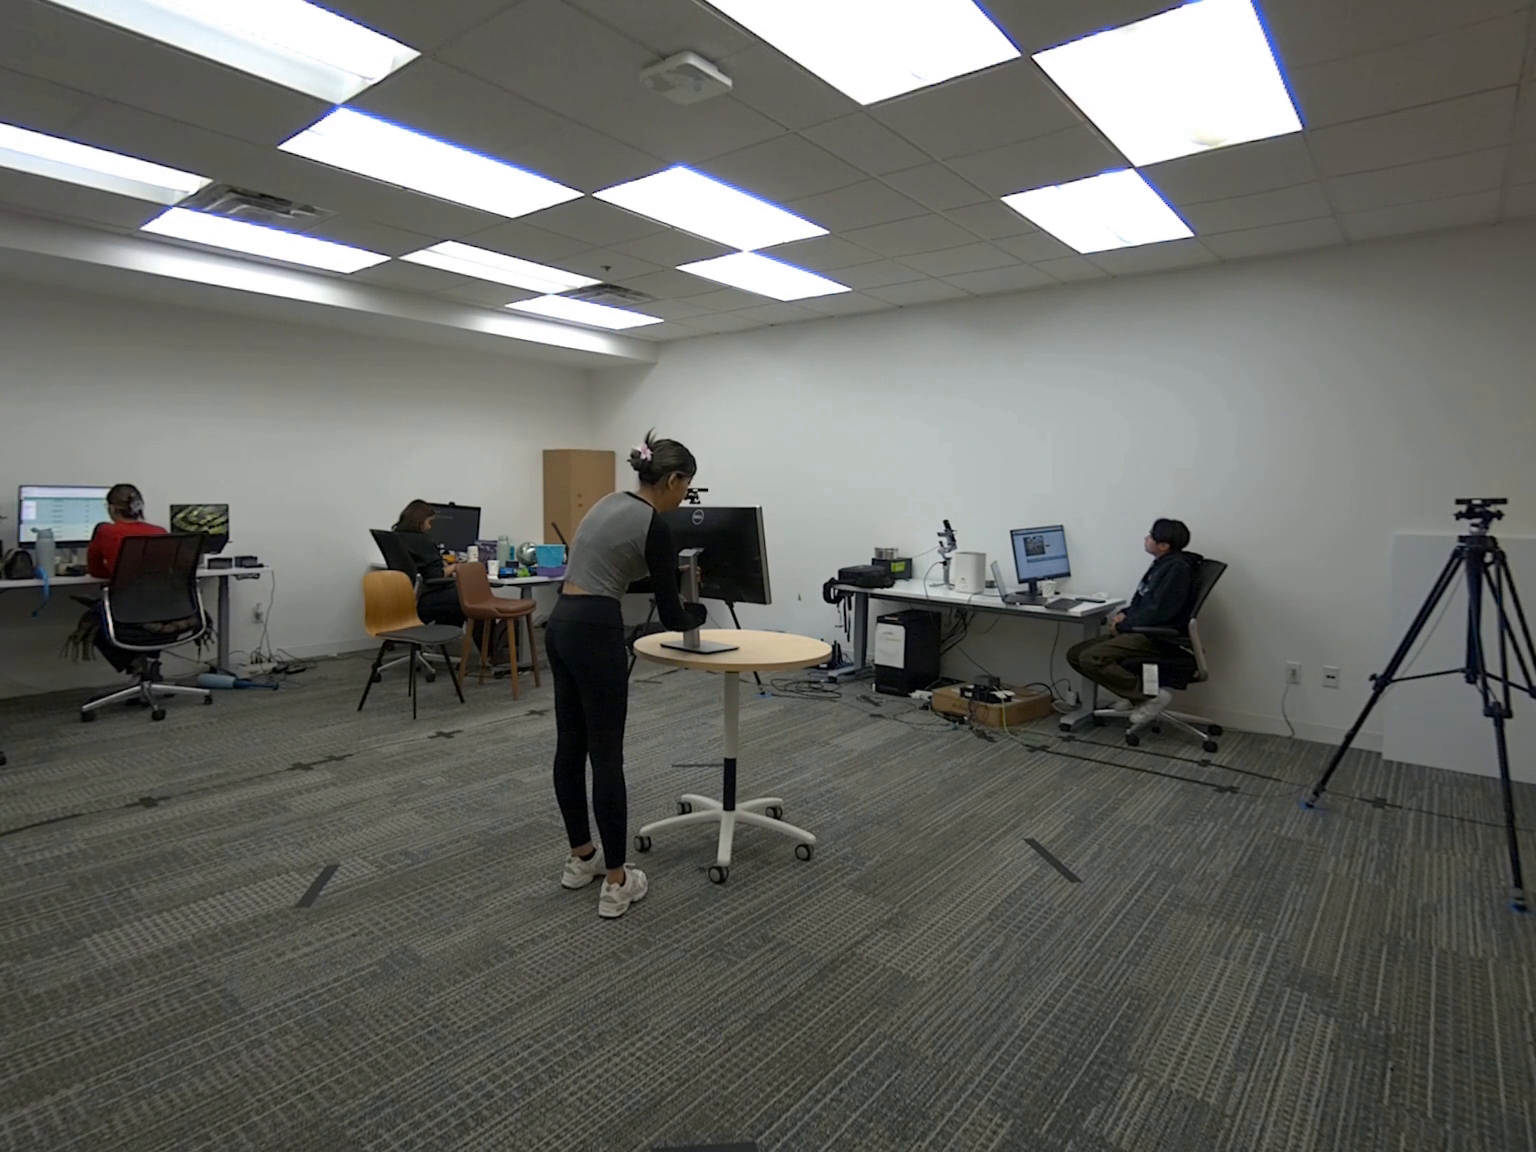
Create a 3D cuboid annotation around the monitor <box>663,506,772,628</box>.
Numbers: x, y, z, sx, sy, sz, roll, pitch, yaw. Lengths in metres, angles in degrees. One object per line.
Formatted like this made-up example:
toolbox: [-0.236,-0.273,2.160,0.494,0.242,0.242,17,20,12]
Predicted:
monitor: [-0.262,0.005,3.204,0.557,0.522,0.181,4,2,39]
